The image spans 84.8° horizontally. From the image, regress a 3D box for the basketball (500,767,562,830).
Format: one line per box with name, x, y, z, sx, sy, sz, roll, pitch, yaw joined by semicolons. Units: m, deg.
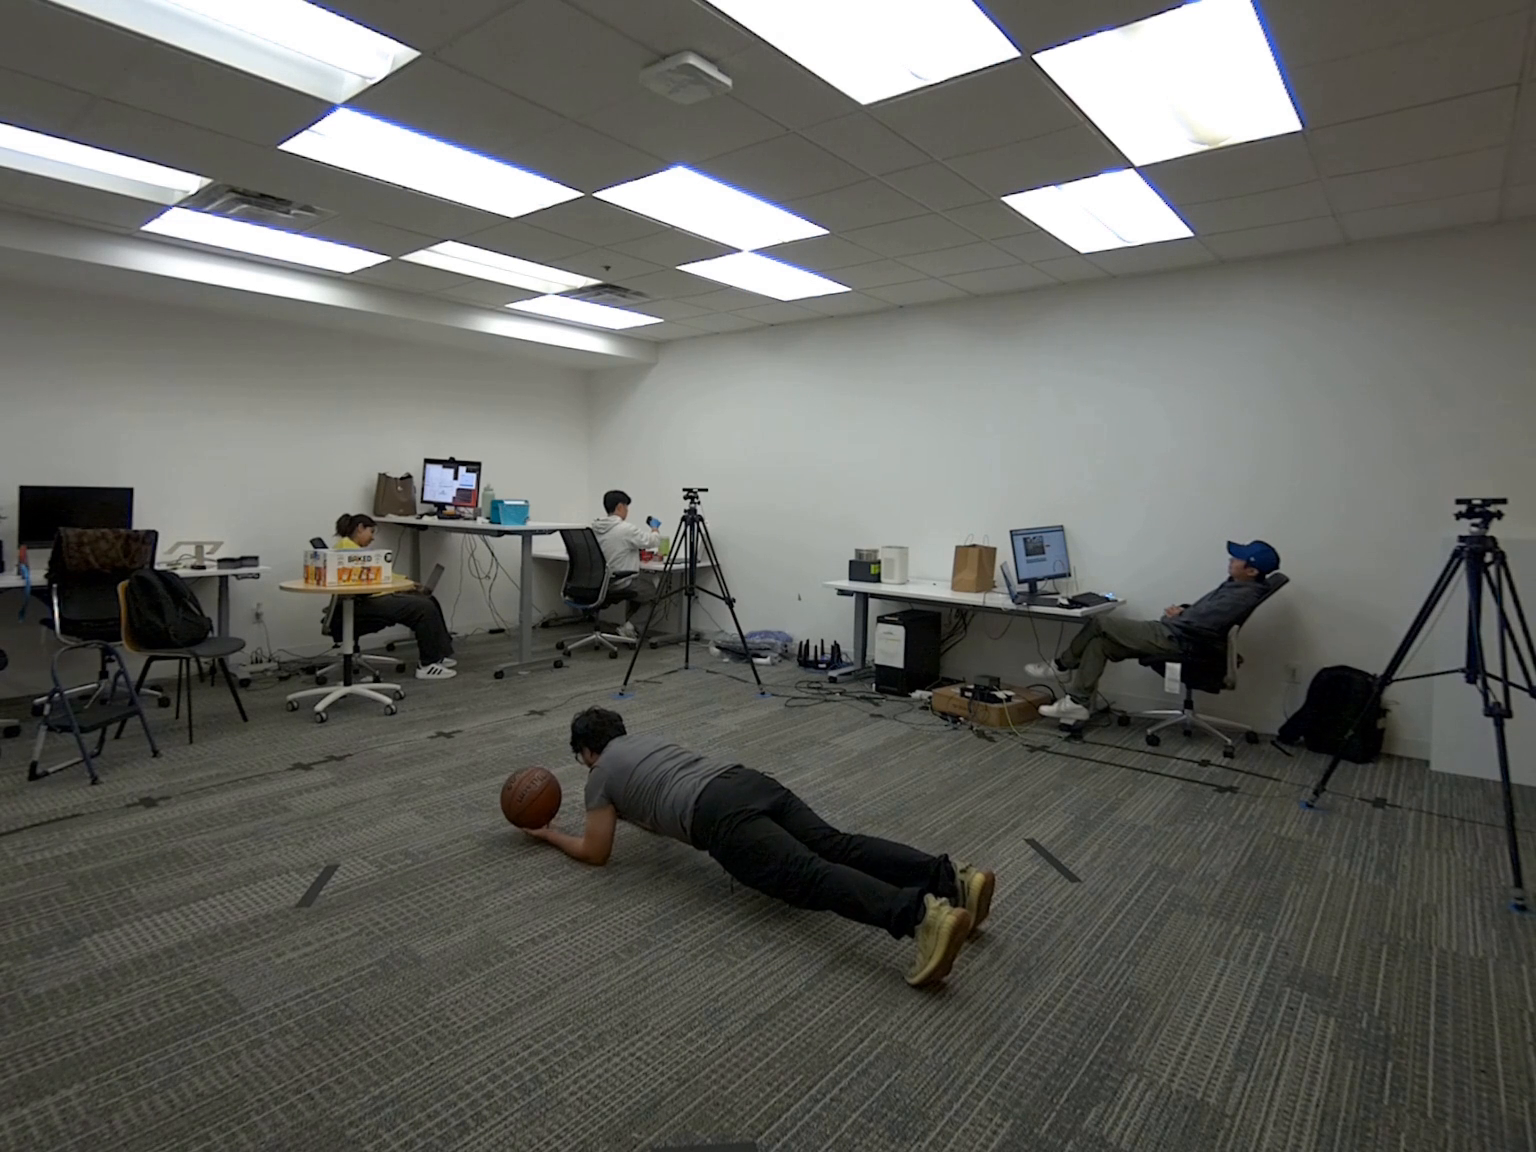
basketball;-0.940;0.873;3.366;0.235;0.235;0.237;1;4;-2
